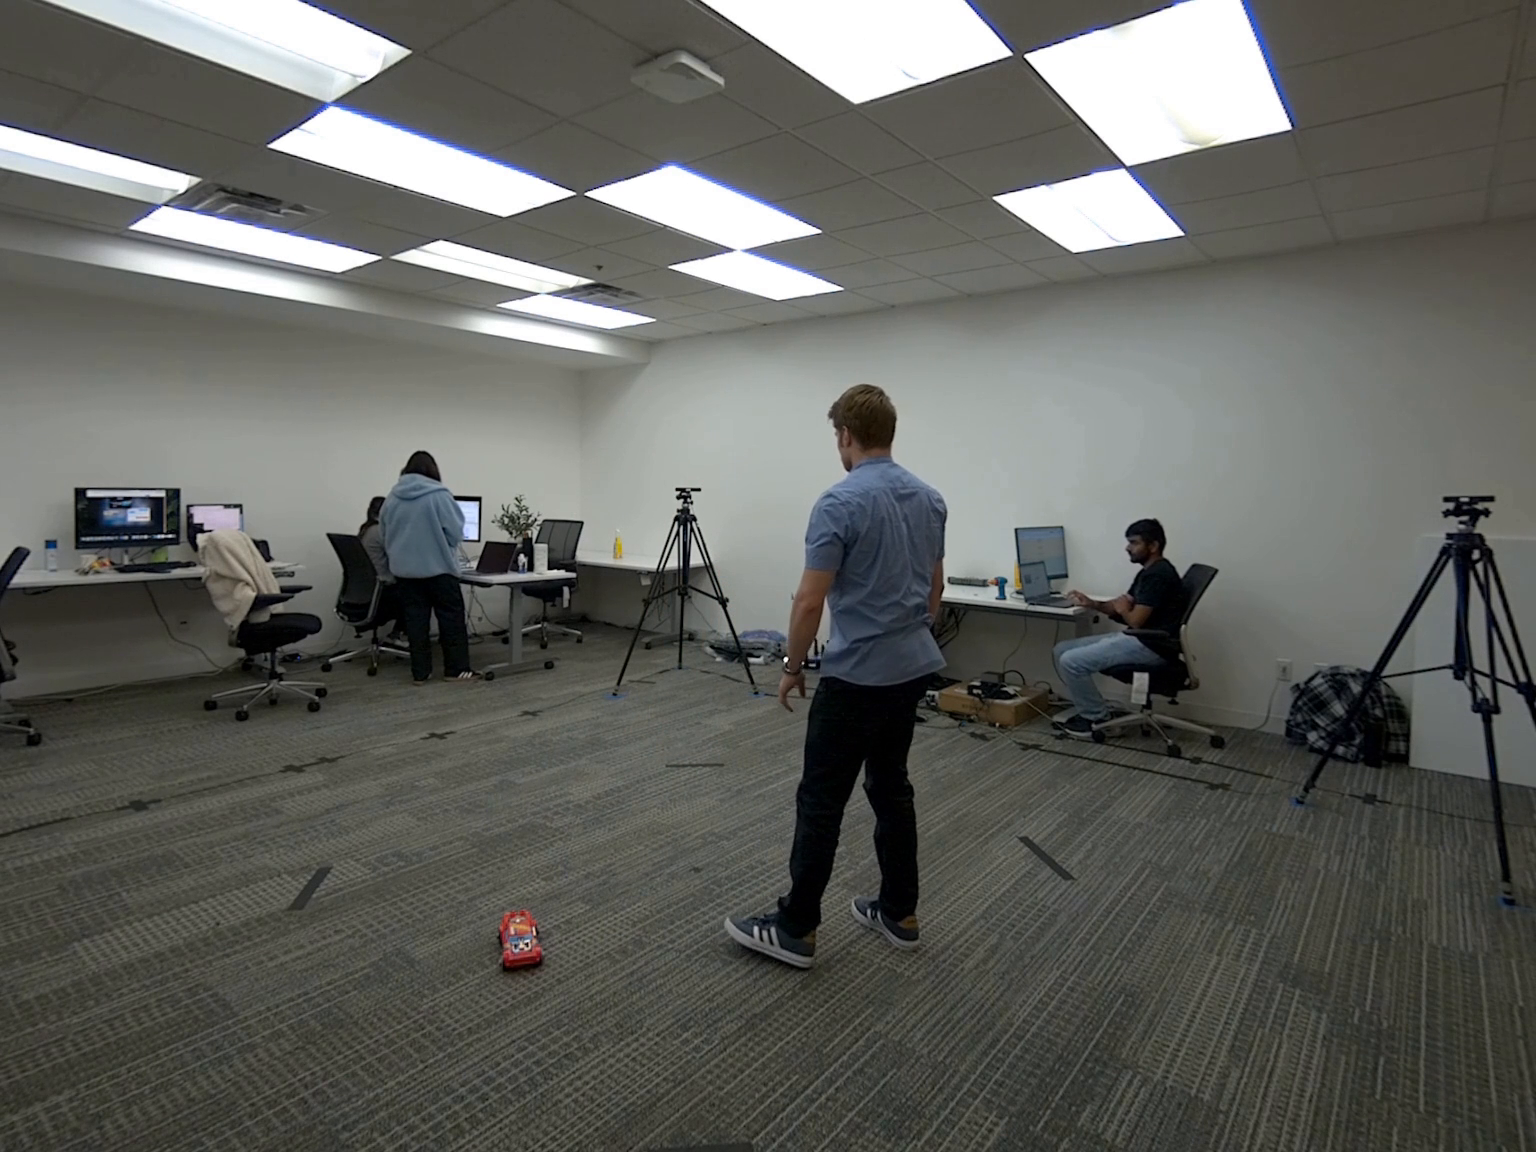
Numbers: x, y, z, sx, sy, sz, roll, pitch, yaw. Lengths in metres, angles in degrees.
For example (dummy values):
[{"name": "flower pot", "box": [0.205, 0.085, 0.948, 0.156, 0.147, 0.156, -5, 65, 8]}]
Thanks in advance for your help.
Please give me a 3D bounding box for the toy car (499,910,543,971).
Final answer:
[{"name": "toy car", "box": [-0.751, 1.081, 2.550, 0.128, 0.082, 0.263, 0, 17, -19]}]
